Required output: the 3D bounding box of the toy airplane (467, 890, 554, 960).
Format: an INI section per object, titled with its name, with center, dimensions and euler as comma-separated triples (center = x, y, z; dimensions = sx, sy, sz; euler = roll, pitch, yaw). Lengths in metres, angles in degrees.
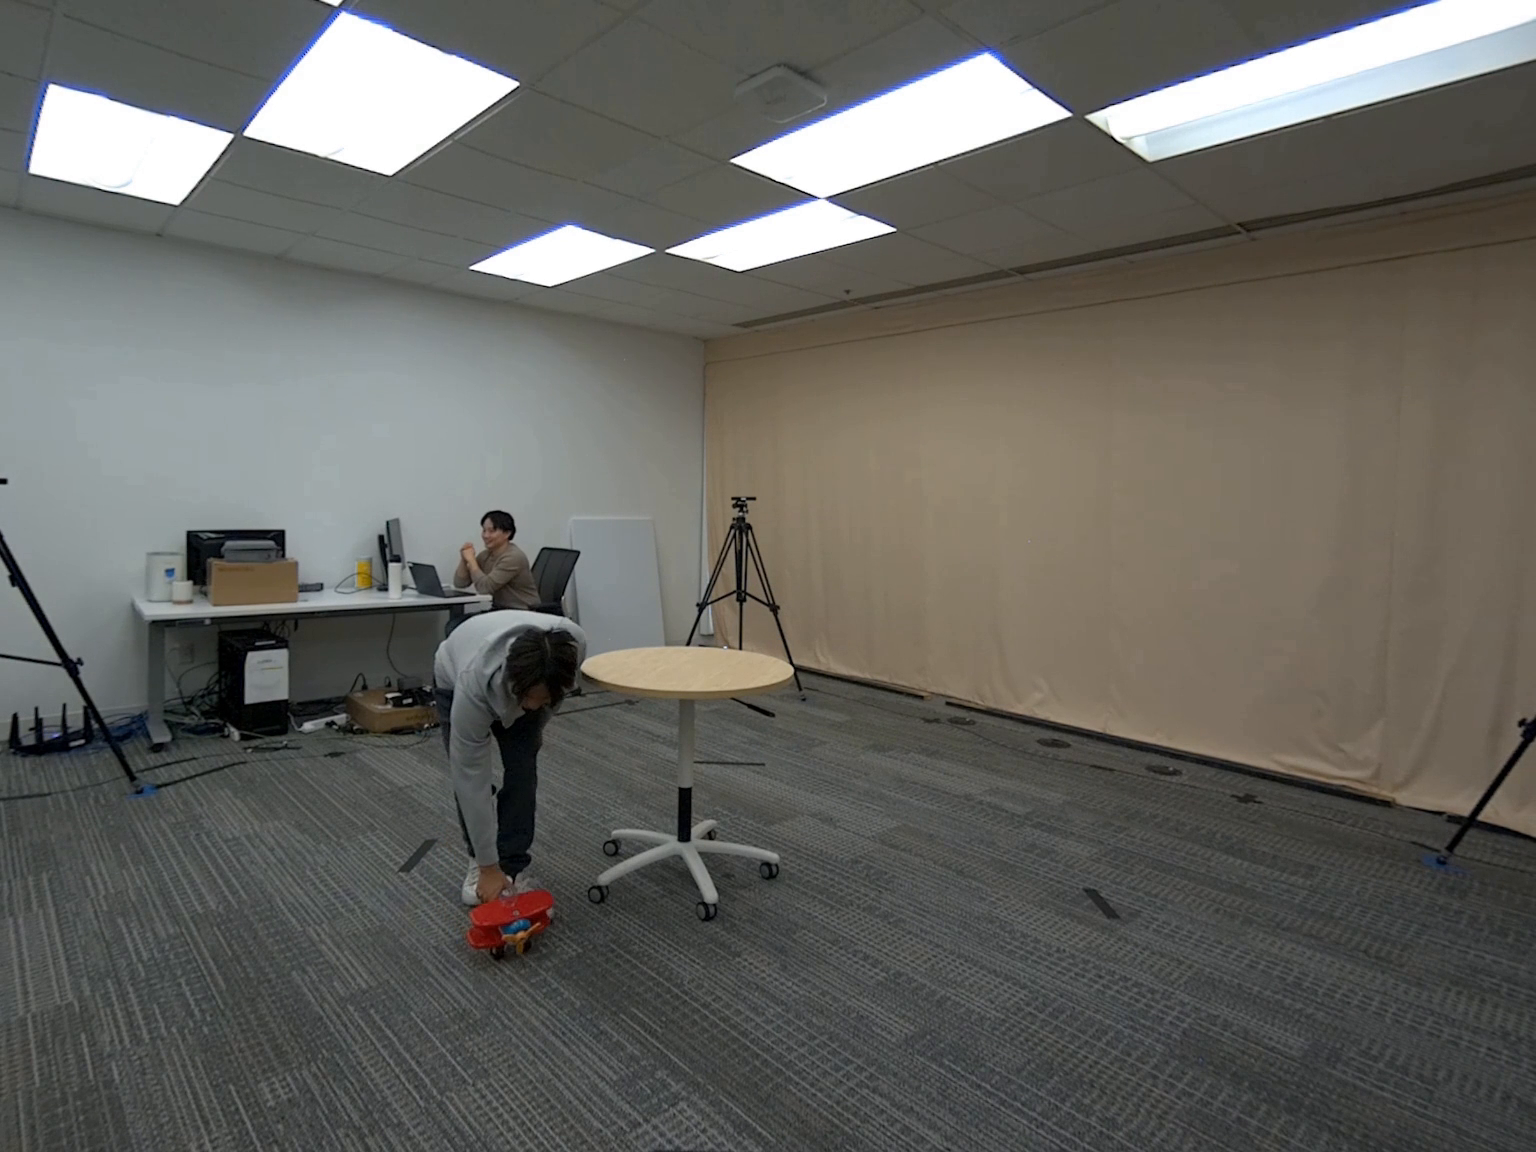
[toy airplane]
center = -0.820, 1.036, 2.558
dimensions = 0.263, 0.155, 0.249
euler = 33, 31, 14
